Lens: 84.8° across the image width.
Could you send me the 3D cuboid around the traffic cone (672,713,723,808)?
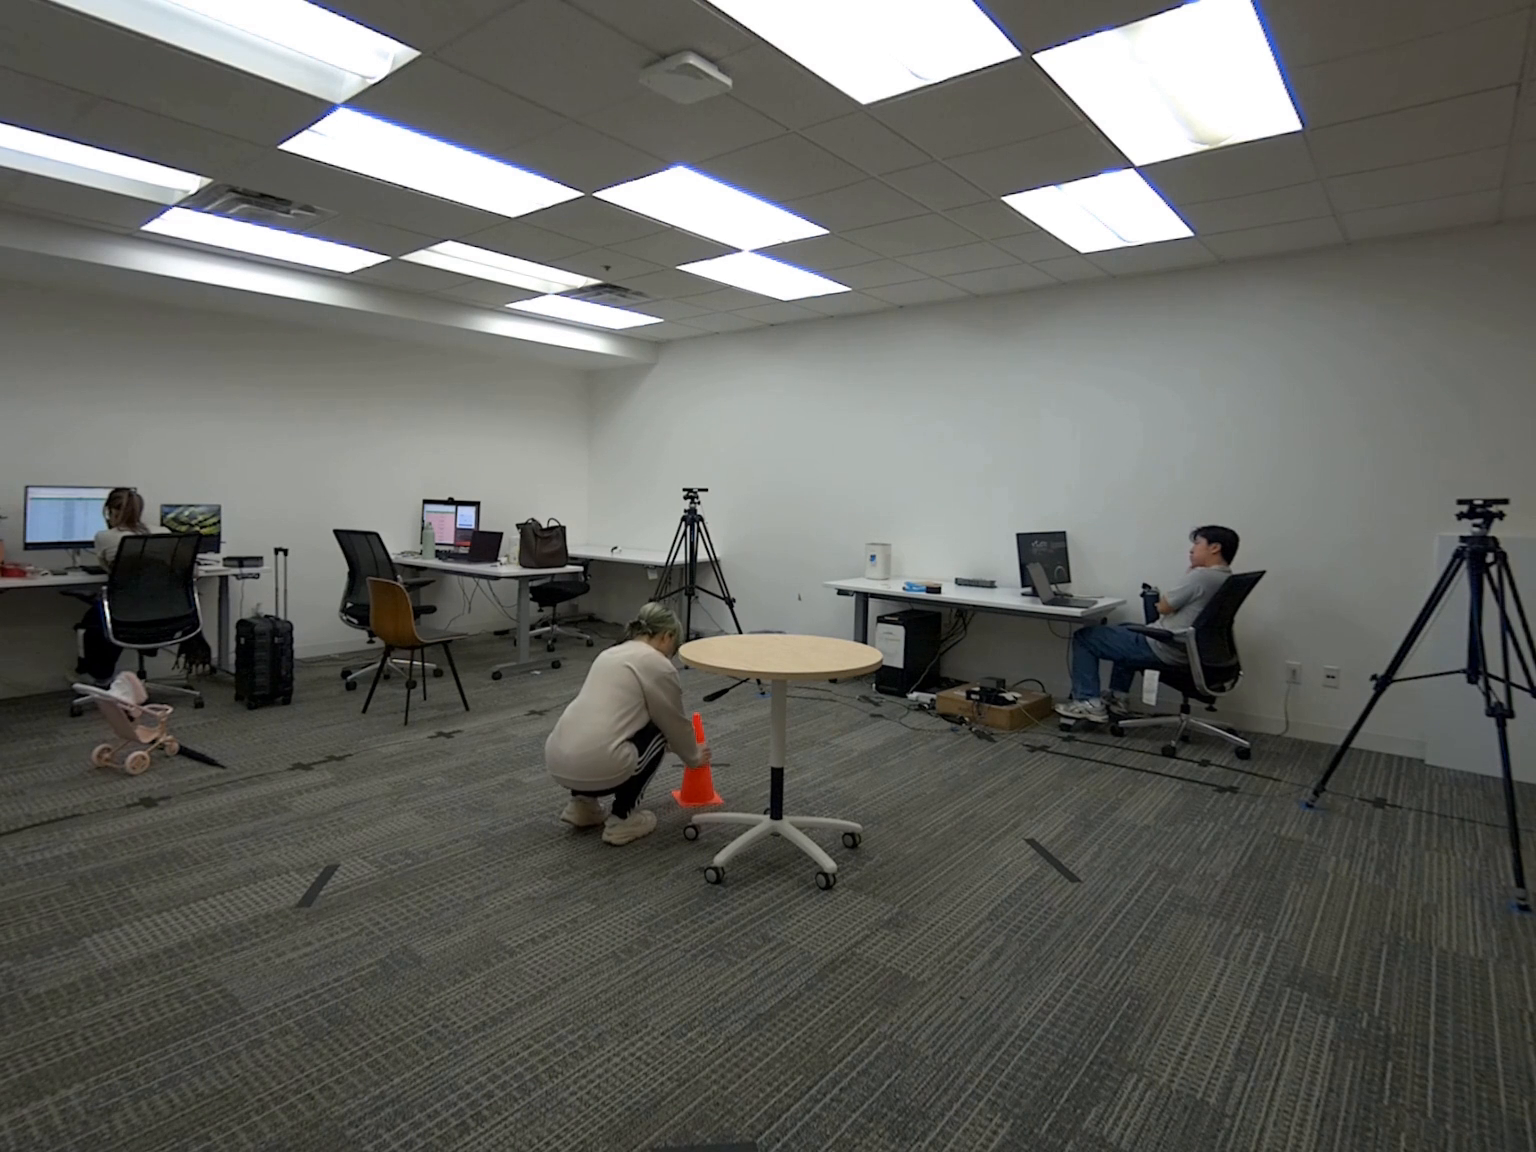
[{"bbox_3d":[-0.332,0.817,3.832,0.202,0.382,0.208,-1,6,-17],"label":"traffic cone"}]
